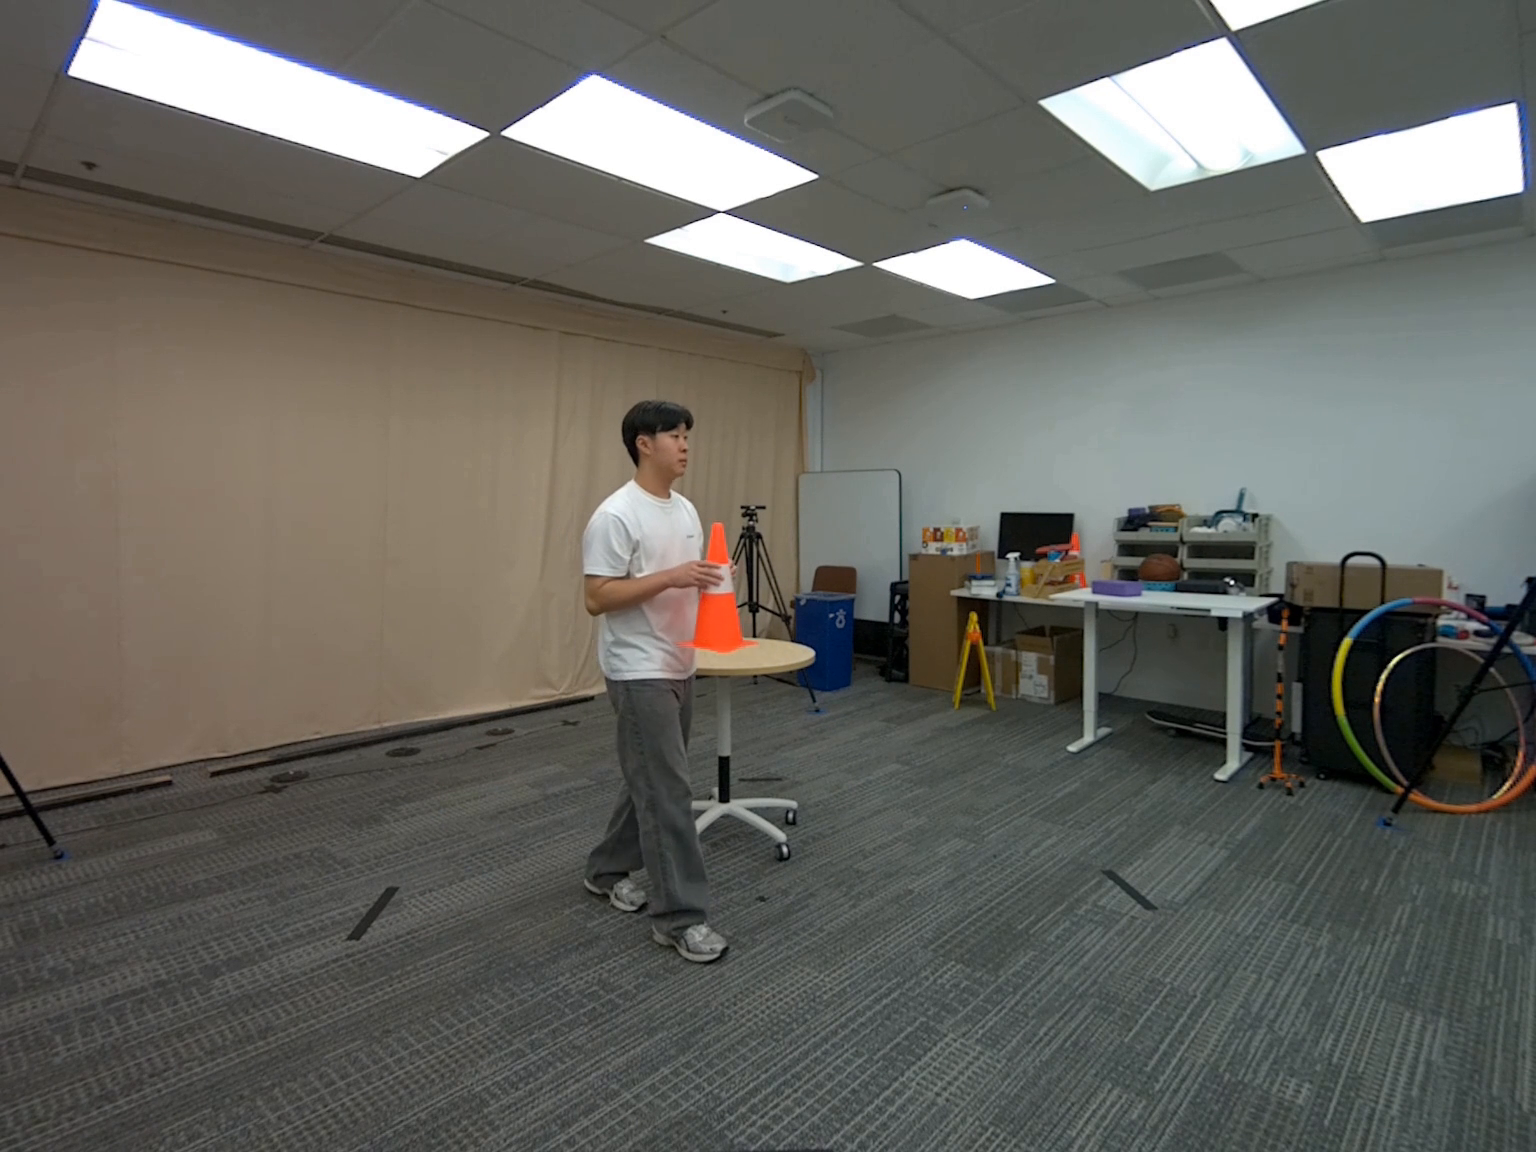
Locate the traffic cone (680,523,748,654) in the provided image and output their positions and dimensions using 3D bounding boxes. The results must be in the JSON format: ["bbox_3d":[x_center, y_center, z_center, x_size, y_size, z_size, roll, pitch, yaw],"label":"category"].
[{"bbox_3d":[-0.153,0.027,2.636,0.208,0.383,0.200,3,3,25],"label":"traffic cone"}]
